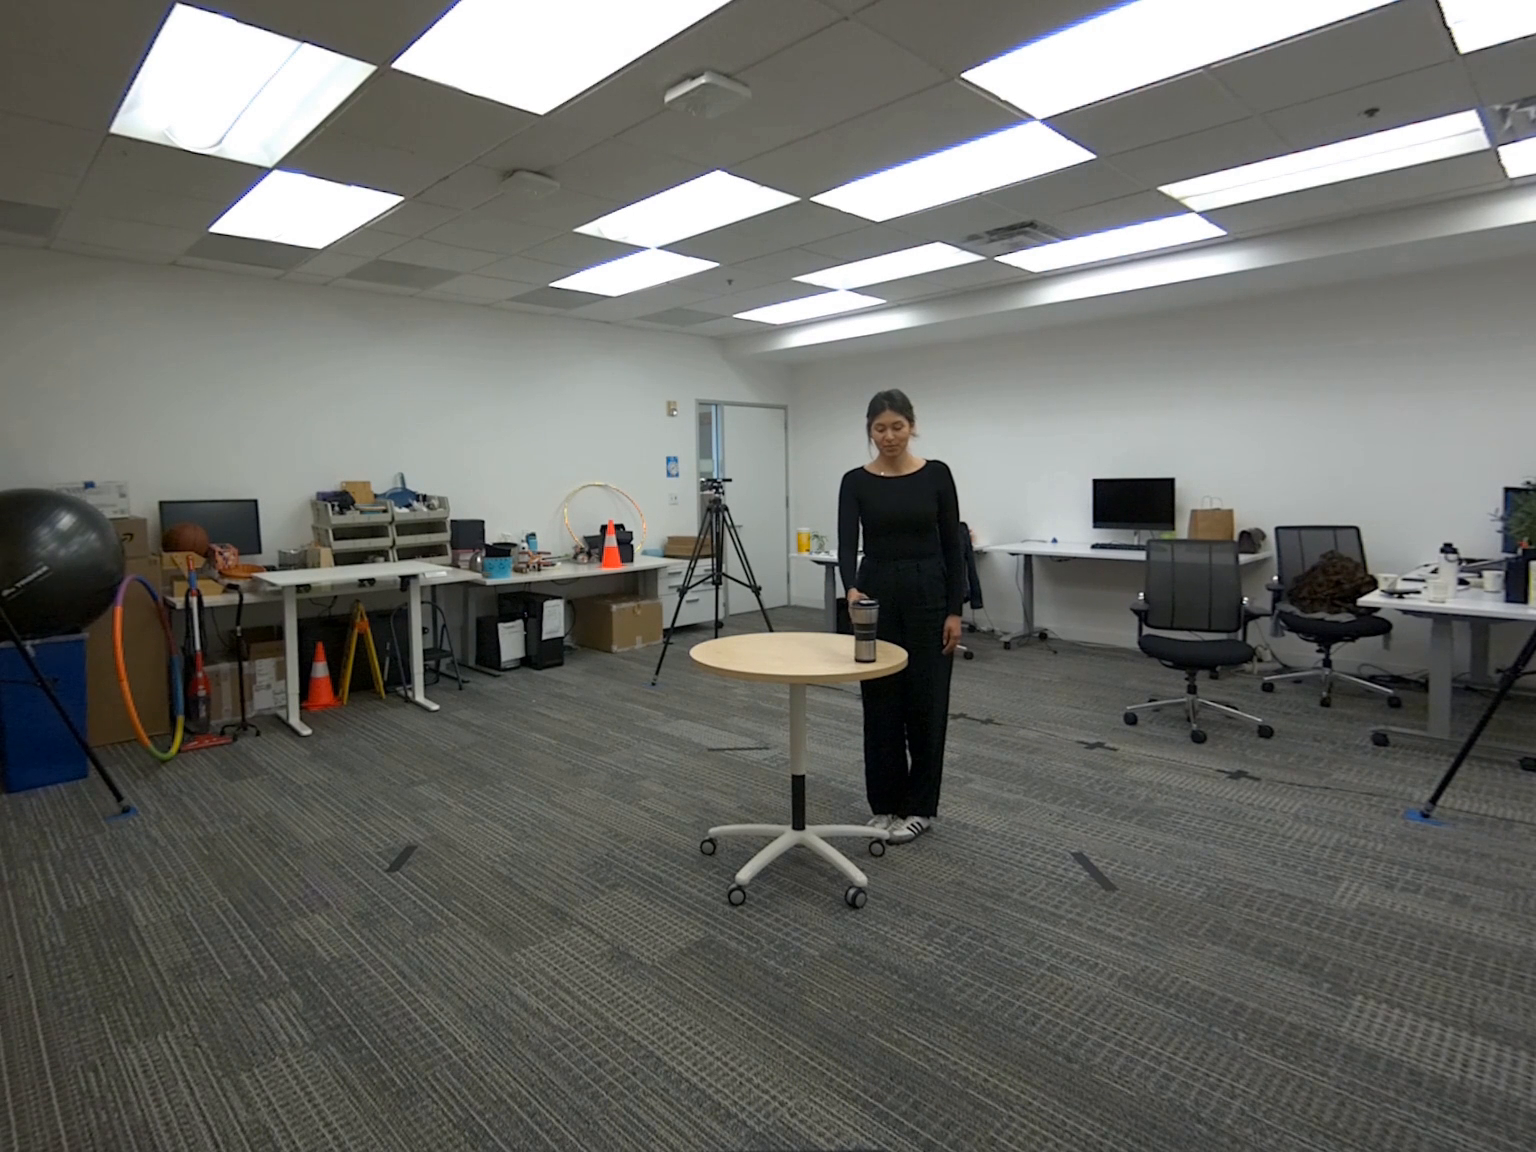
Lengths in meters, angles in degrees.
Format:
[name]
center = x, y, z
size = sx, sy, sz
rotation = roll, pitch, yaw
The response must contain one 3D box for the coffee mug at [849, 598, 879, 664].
[coffee mug]
center = 0.349, 0.184, 2.850
size = 0.090, 0.202, 0.119
rotation = -2, 6, 44
